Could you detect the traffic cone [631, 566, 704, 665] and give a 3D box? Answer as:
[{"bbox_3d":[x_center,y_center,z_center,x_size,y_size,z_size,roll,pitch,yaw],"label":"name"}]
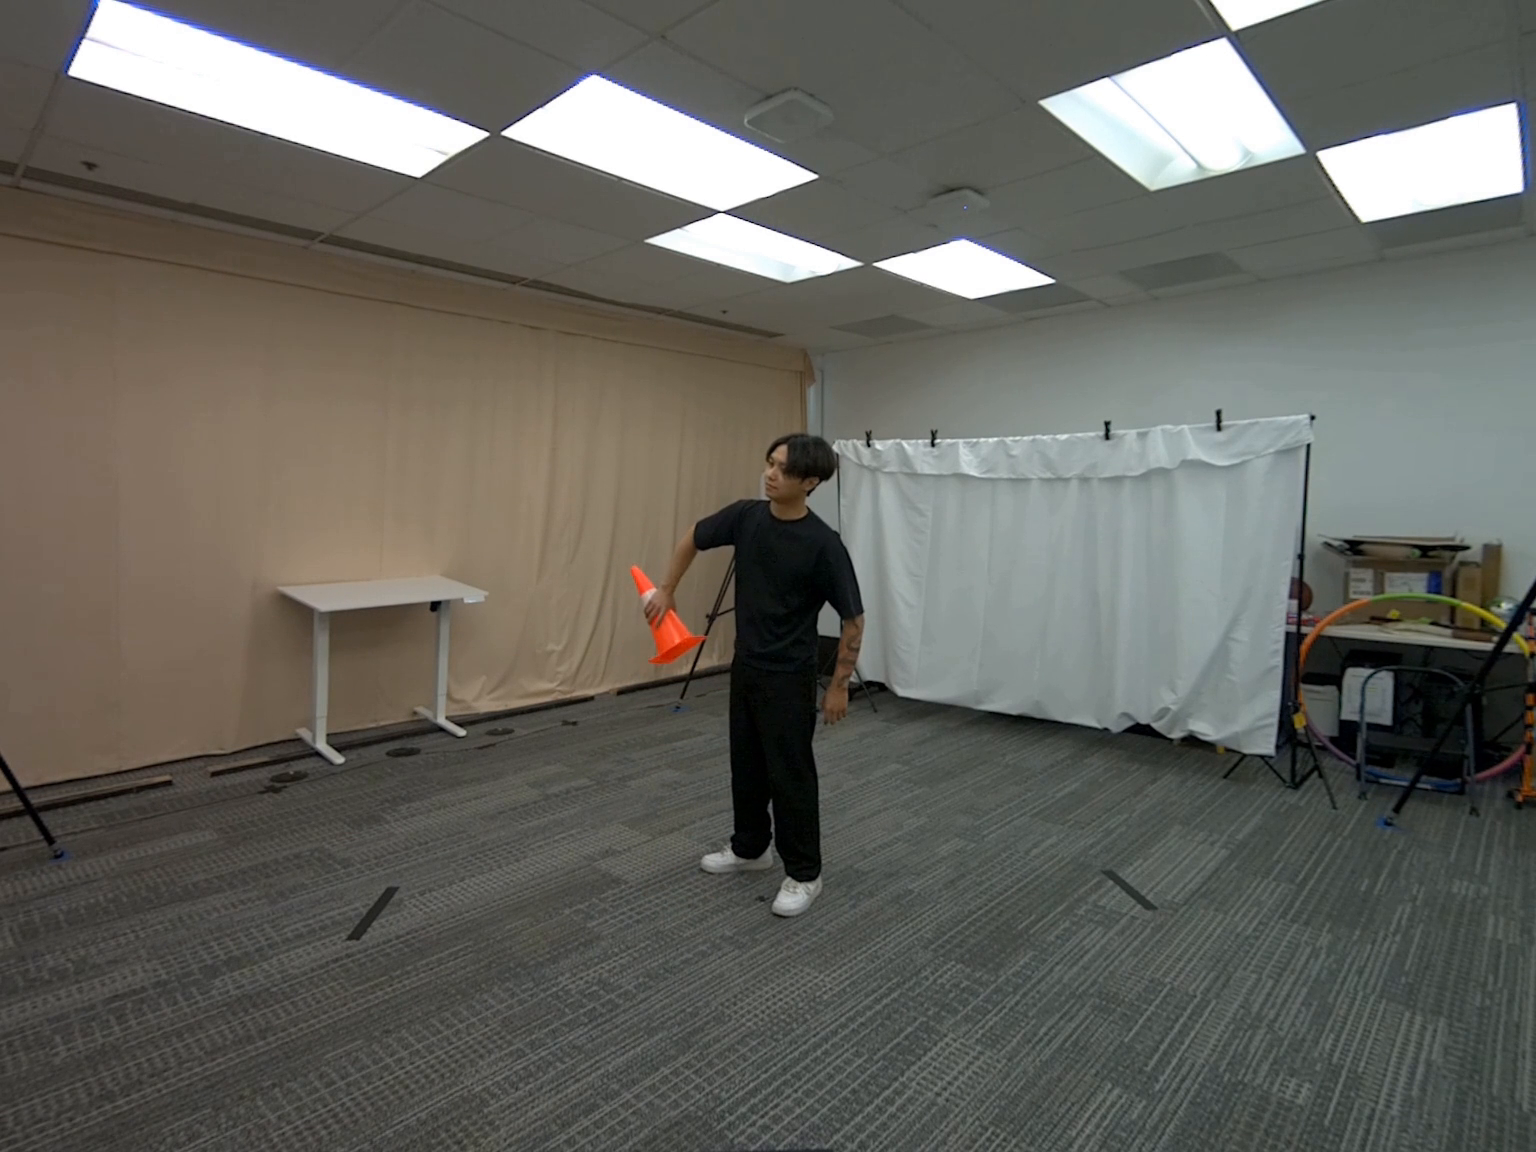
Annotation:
[{"bbox_3d":[-0.440,0.125,3.291,0.205,0.390,0.200,-36,-16,17],"label":"traffic cone"}]
